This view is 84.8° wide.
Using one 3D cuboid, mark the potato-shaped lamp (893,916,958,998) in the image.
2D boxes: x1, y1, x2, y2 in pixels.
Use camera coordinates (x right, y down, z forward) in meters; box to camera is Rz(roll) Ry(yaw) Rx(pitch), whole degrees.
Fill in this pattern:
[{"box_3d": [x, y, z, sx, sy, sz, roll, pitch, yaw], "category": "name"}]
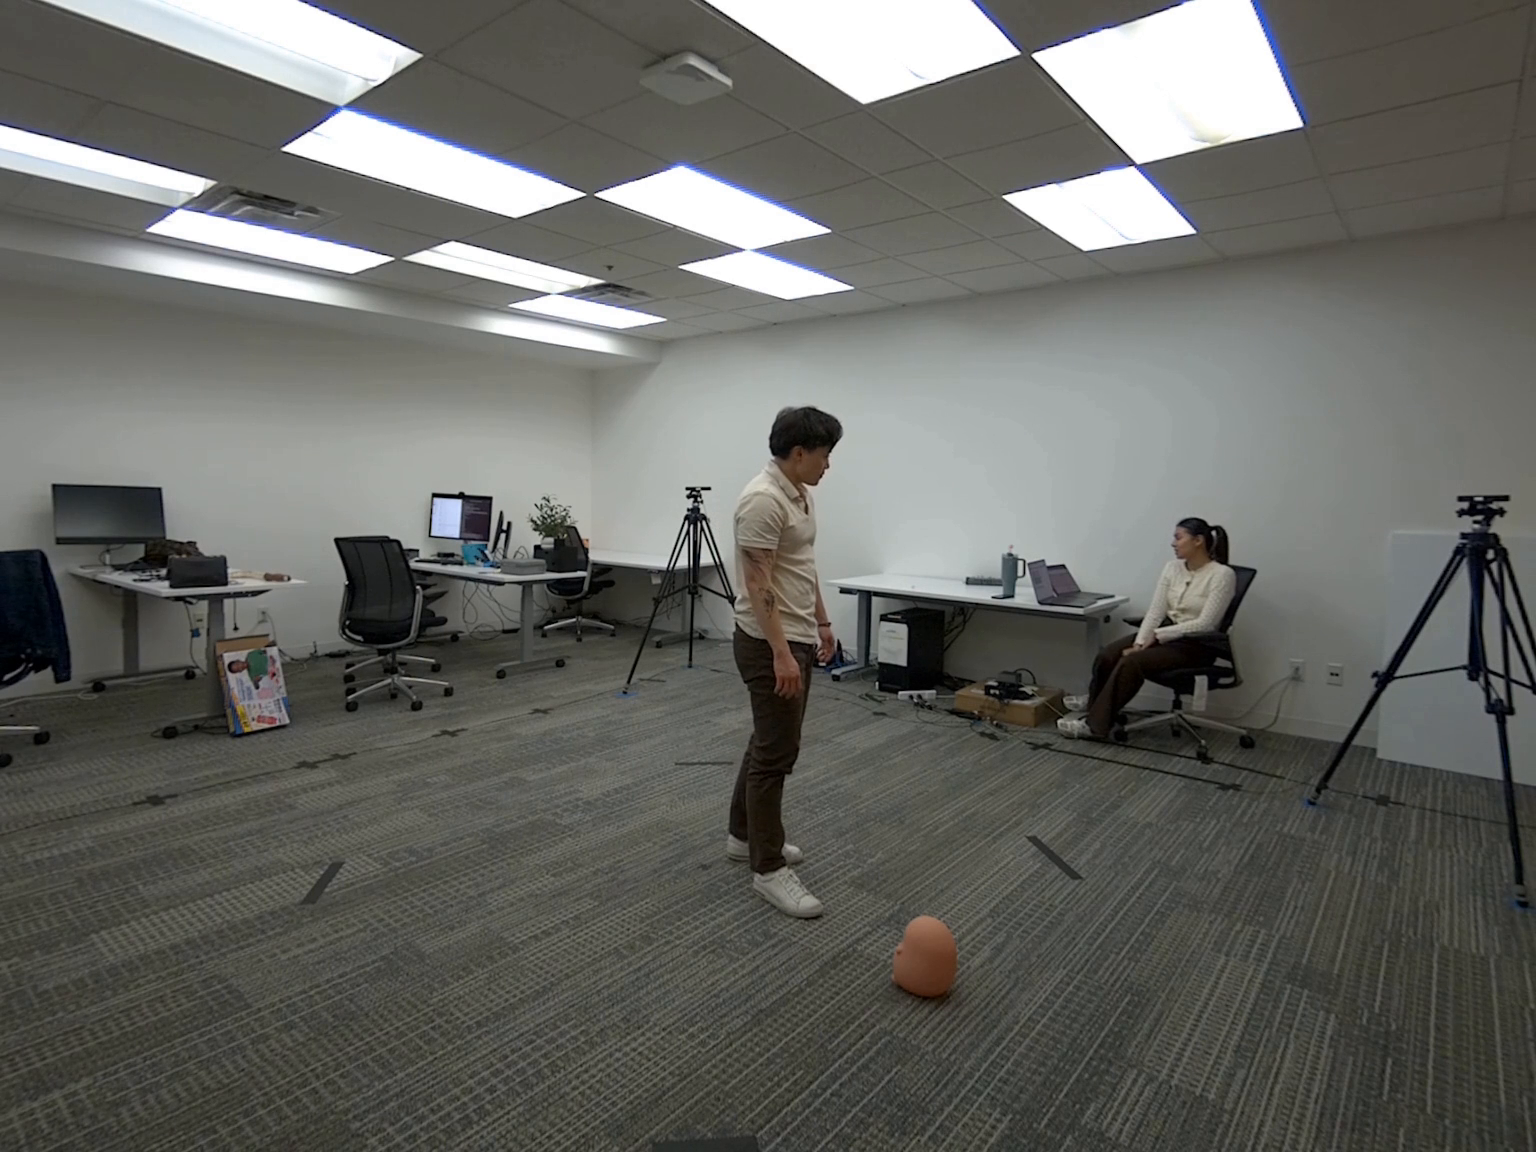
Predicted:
[{"box_3d": [0.434, 1.049, 2.386, 0.177, 0.198, 0.159, 7, 3, 41], "category": "potato-shaped lamp"}]
